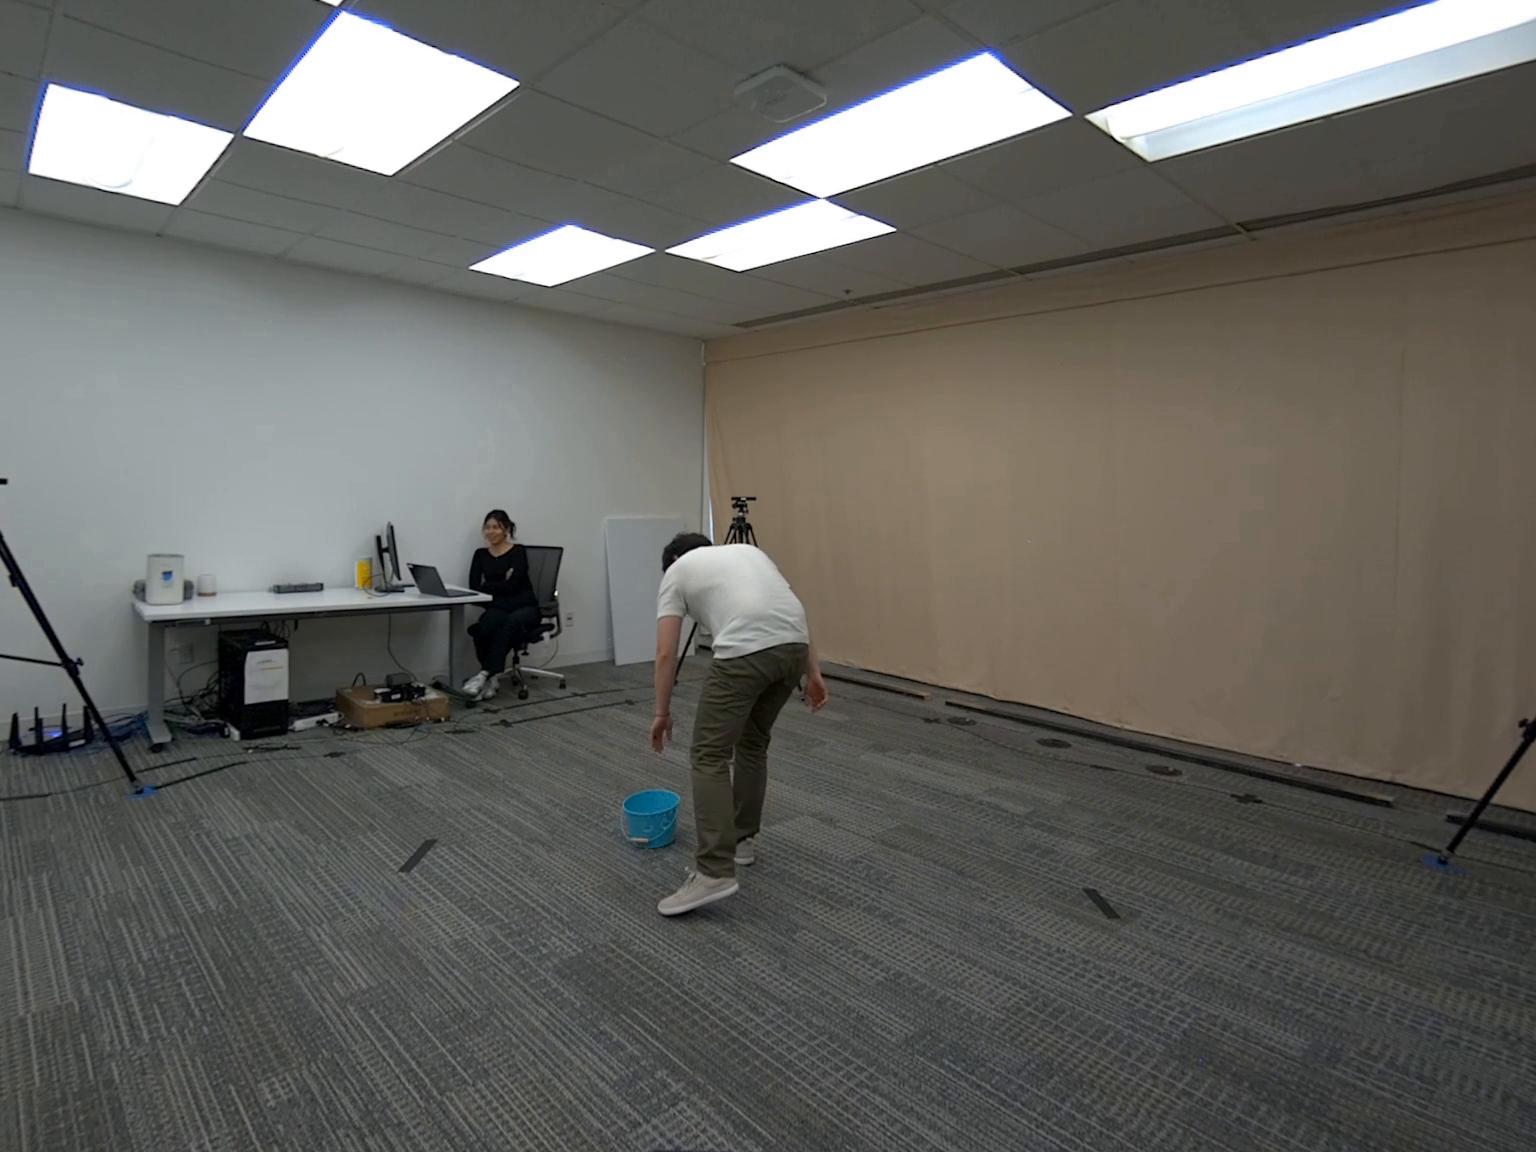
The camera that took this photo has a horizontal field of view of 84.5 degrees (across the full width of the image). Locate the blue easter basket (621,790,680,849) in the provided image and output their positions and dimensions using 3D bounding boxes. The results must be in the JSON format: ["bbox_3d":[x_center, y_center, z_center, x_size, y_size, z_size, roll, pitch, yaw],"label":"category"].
[{"bbox_3d":[-0.481,0.989,3.413,0.243,0.155,0.245,-2,8,-1],"label":"blue easter basket"}]
